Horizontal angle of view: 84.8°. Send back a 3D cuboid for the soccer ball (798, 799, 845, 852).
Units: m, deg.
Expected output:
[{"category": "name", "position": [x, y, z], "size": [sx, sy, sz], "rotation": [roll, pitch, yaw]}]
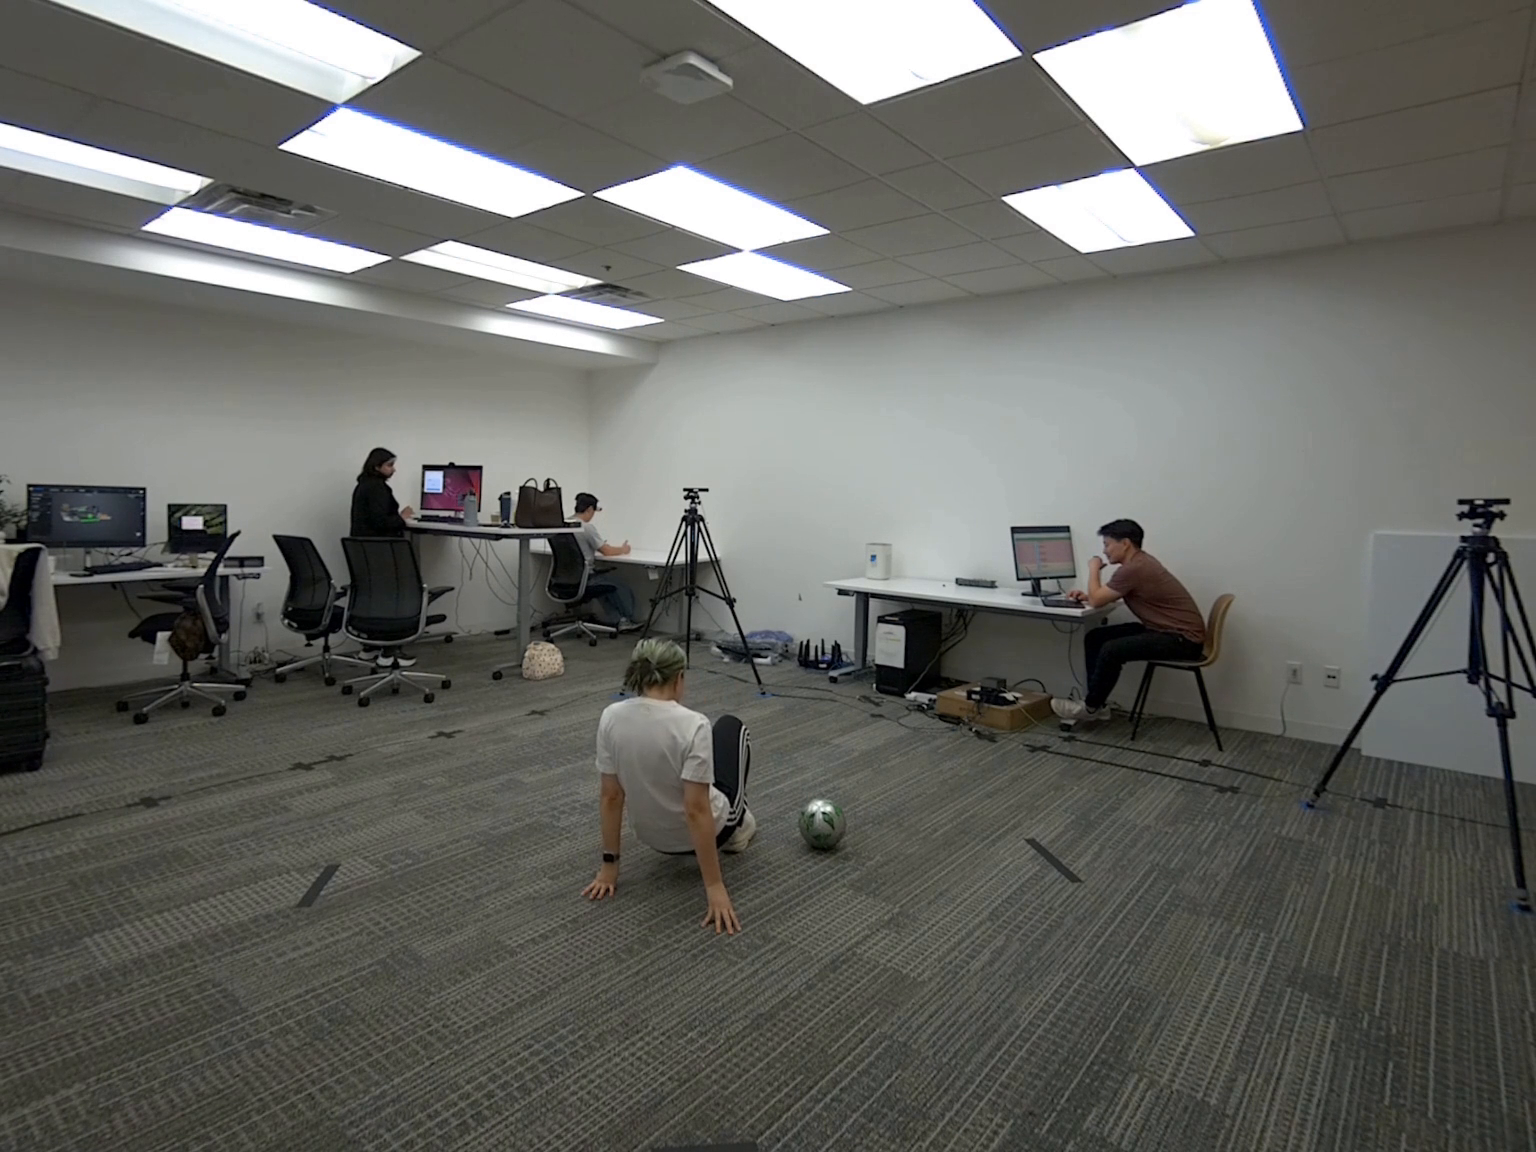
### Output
[{"category": "soccer ball", "position": [0.206, 0.967, 3.325], "size": [0.187, 0.187, 0.188], "rotation": [1, 4, -2]}]
